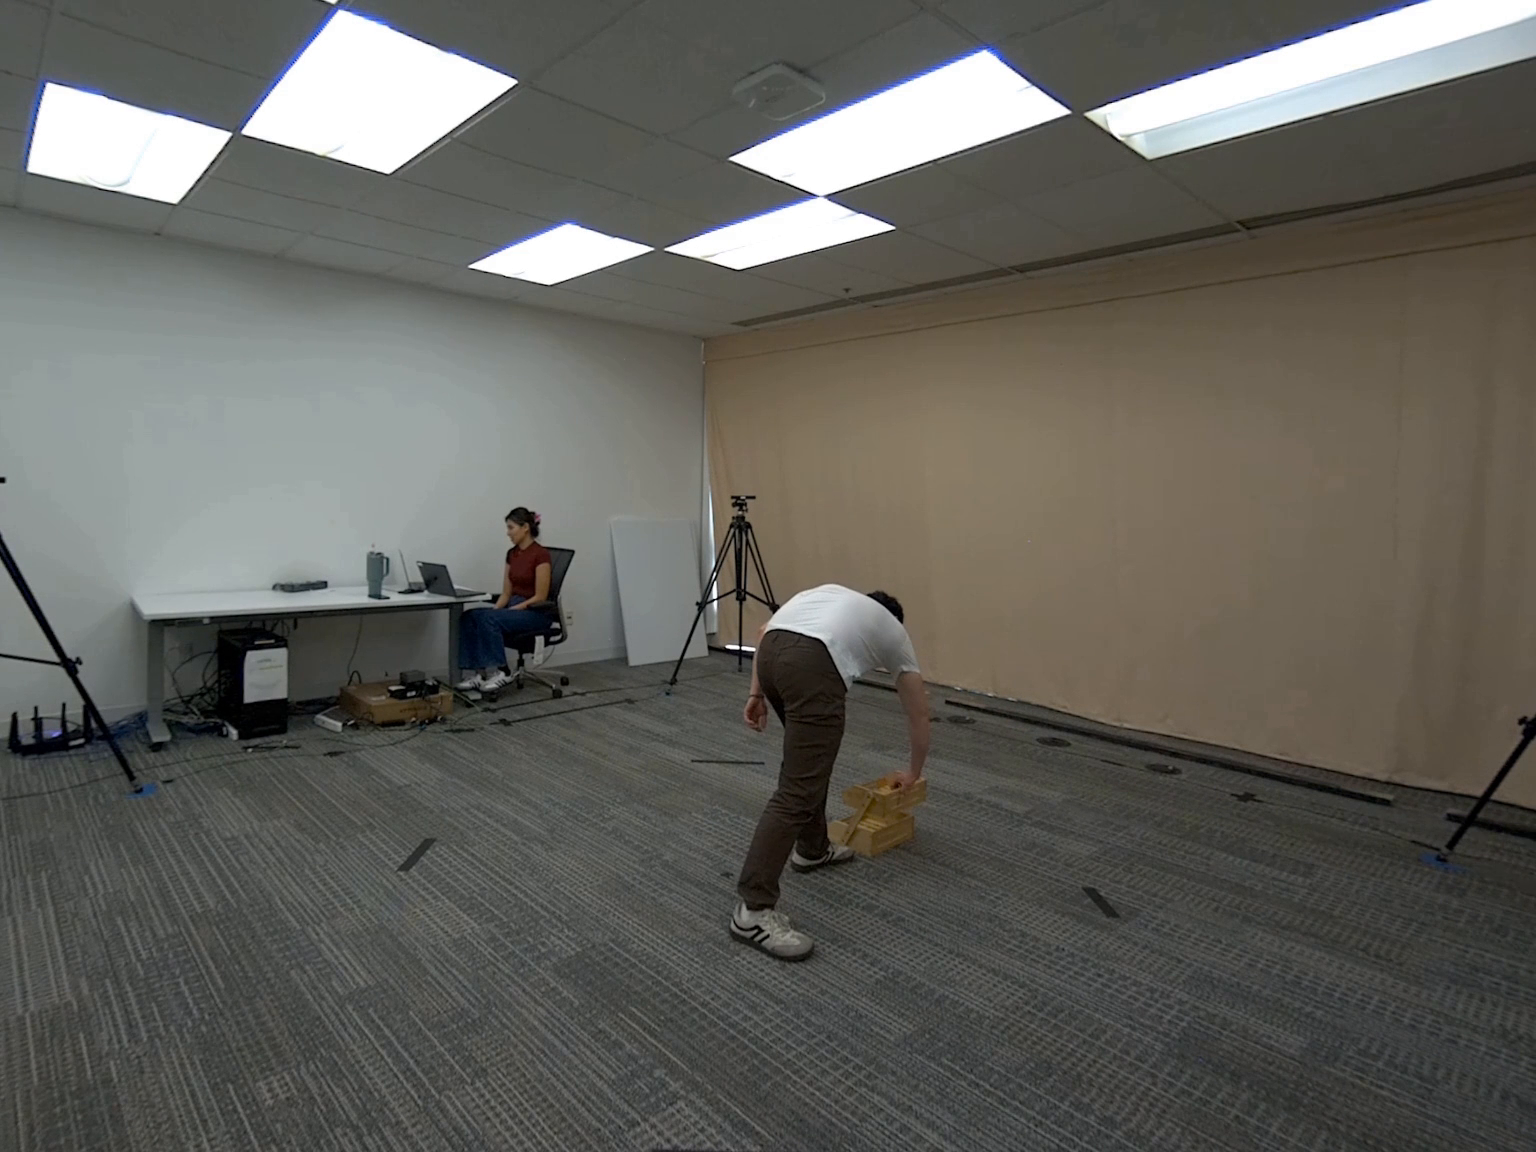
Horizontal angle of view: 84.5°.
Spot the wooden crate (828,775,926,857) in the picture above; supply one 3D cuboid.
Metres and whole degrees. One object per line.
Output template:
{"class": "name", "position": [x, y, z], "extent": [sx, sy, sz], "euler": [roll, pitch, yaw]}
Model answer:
{"class": "wooden crate", "position": [0.426, 0.949, 3.455], "extent": [0.310, 0.272, 0.317], "euler": [6, 6, 43]}
